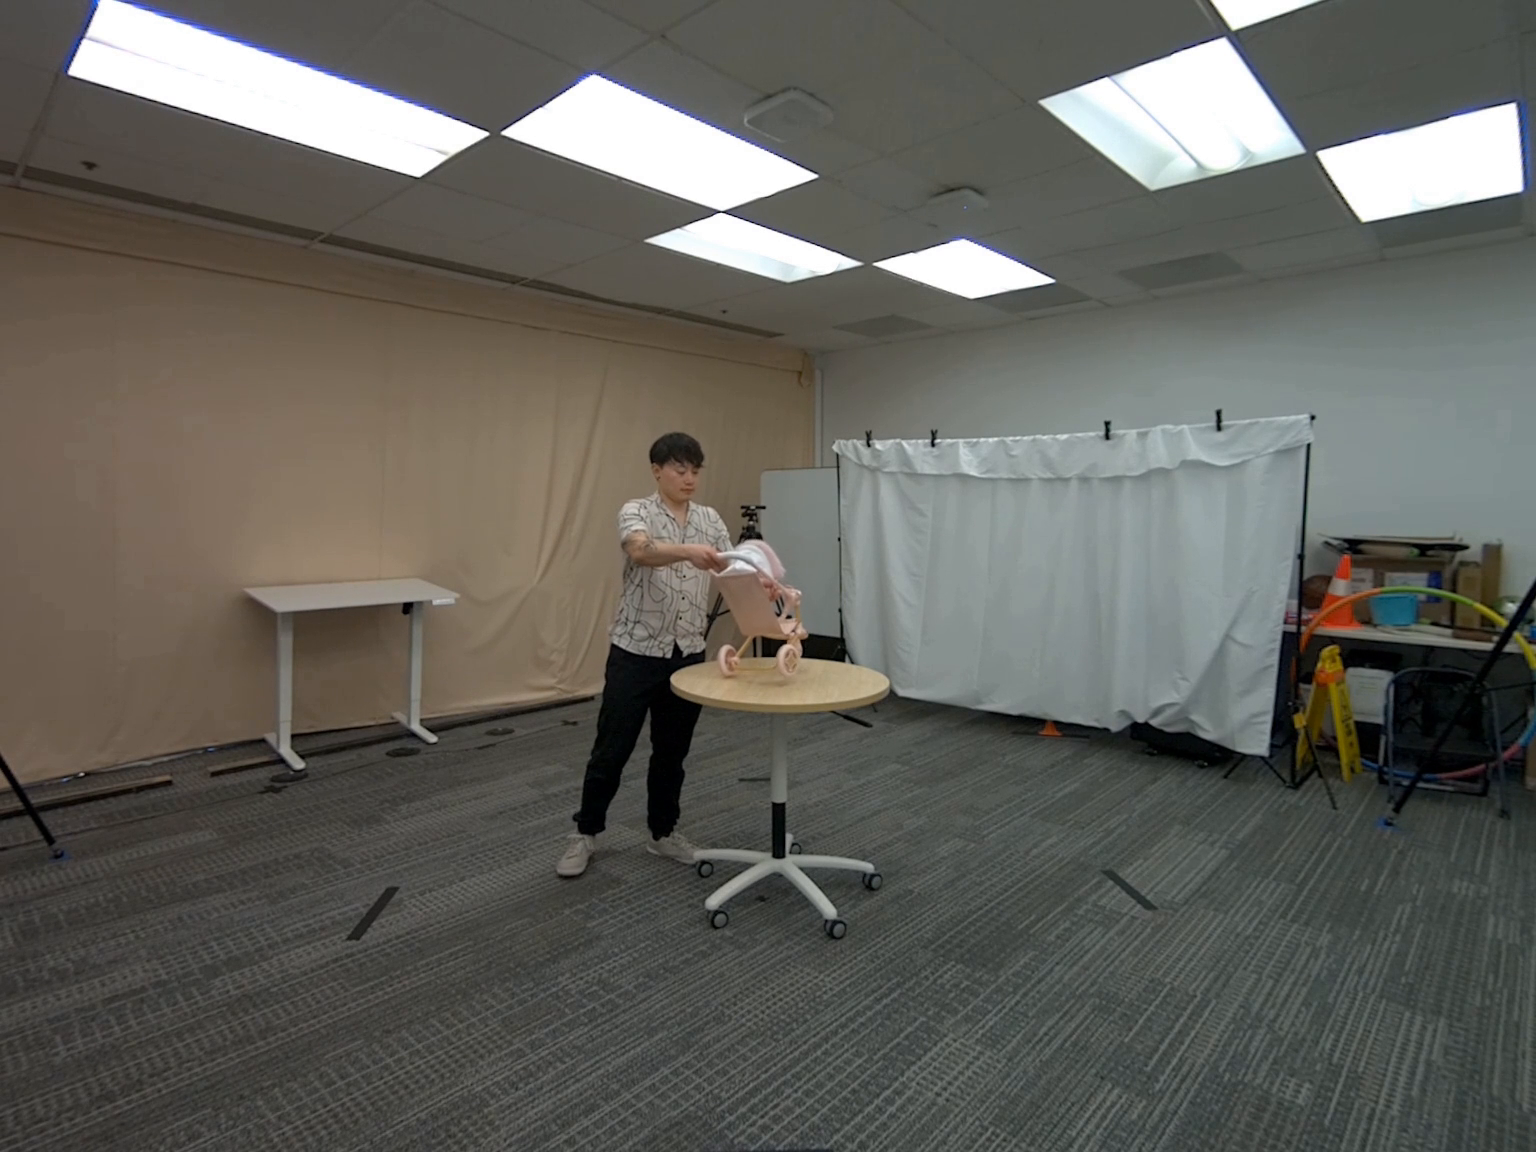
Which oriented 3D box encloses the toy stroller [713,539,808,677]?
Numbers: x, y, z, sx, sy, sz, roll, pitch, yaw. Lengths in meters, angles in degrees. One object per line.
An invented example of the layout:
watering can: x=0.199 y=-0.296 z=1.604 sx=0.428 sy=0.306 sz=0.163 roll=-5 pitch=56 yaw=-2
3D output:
toy stroller: x=-0.020 y=0.109 z=2.946 sx=0.290 sy=0.529 sz=0.335 roll=-5 pitch=18 yaw=40
